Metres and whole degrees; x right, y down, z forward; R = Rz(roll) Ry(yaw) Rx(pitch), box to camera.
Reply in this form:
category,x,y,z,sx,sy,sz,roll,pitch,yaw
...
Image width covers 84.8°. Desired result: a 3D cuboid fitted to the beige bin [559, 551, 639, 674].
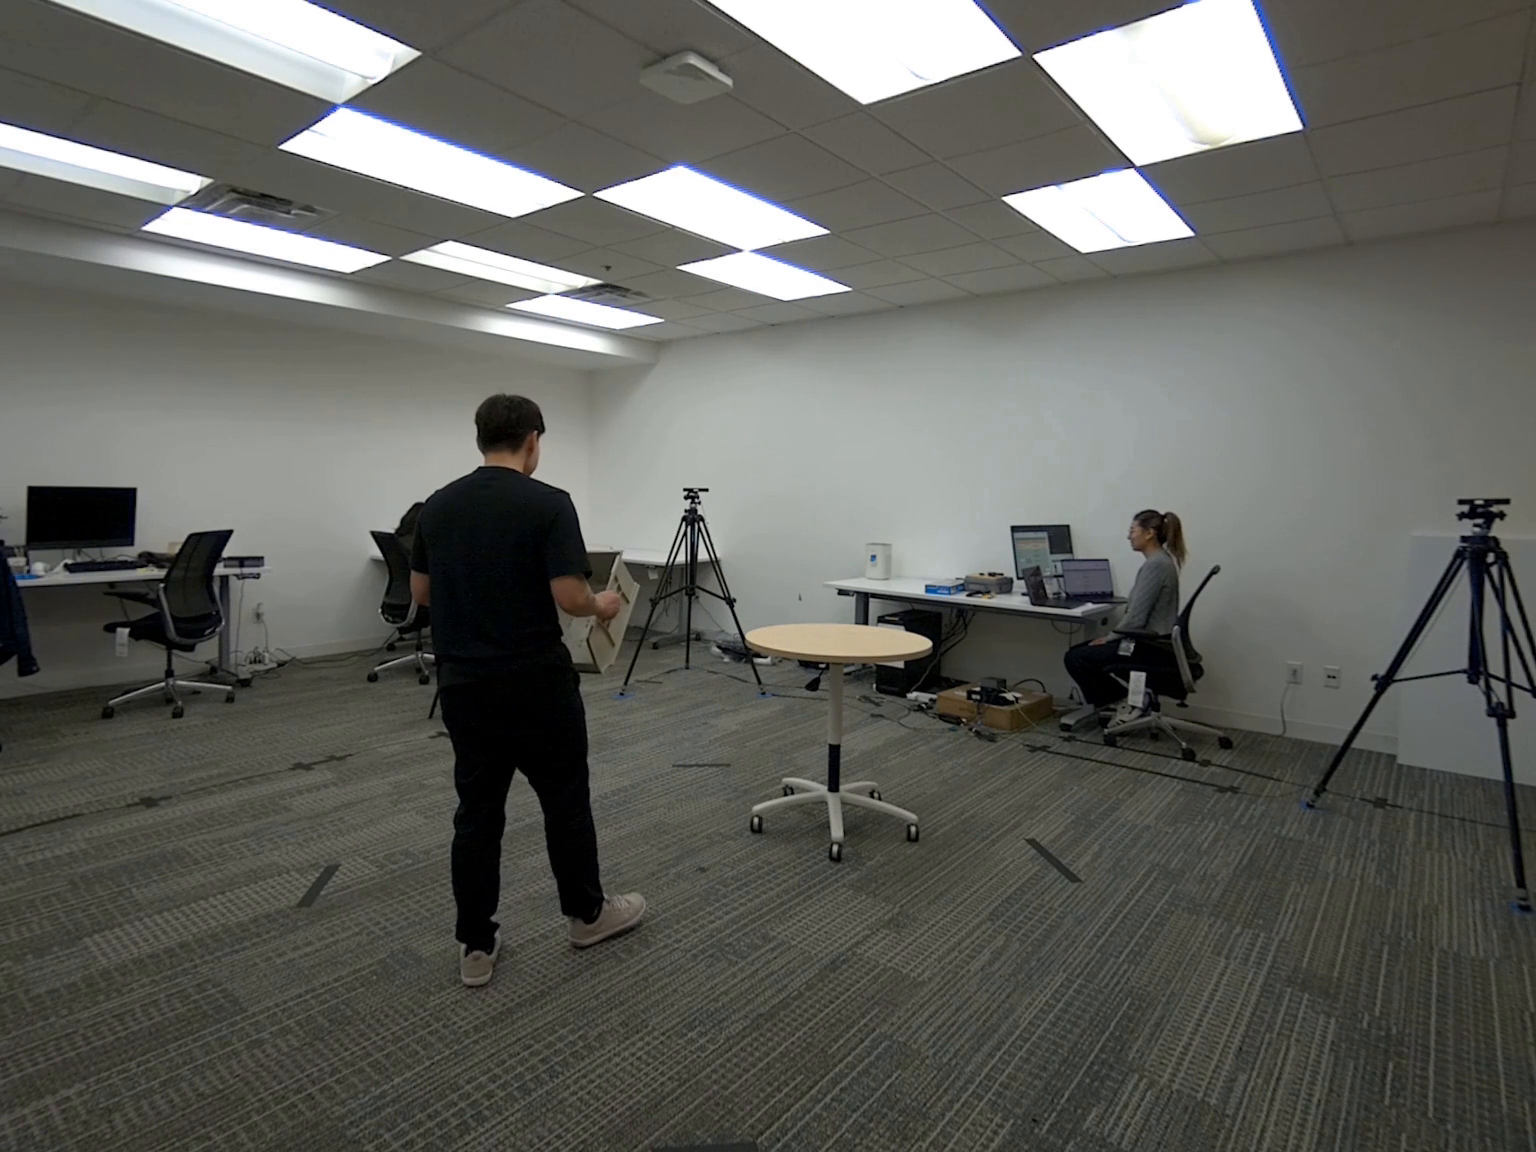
category,x,y,z,sx,sy,sz,roll,pitch,yaw
beige bin,-0.679,0.124,2.758,0.431,0.384,0.181,-1,-40,21
